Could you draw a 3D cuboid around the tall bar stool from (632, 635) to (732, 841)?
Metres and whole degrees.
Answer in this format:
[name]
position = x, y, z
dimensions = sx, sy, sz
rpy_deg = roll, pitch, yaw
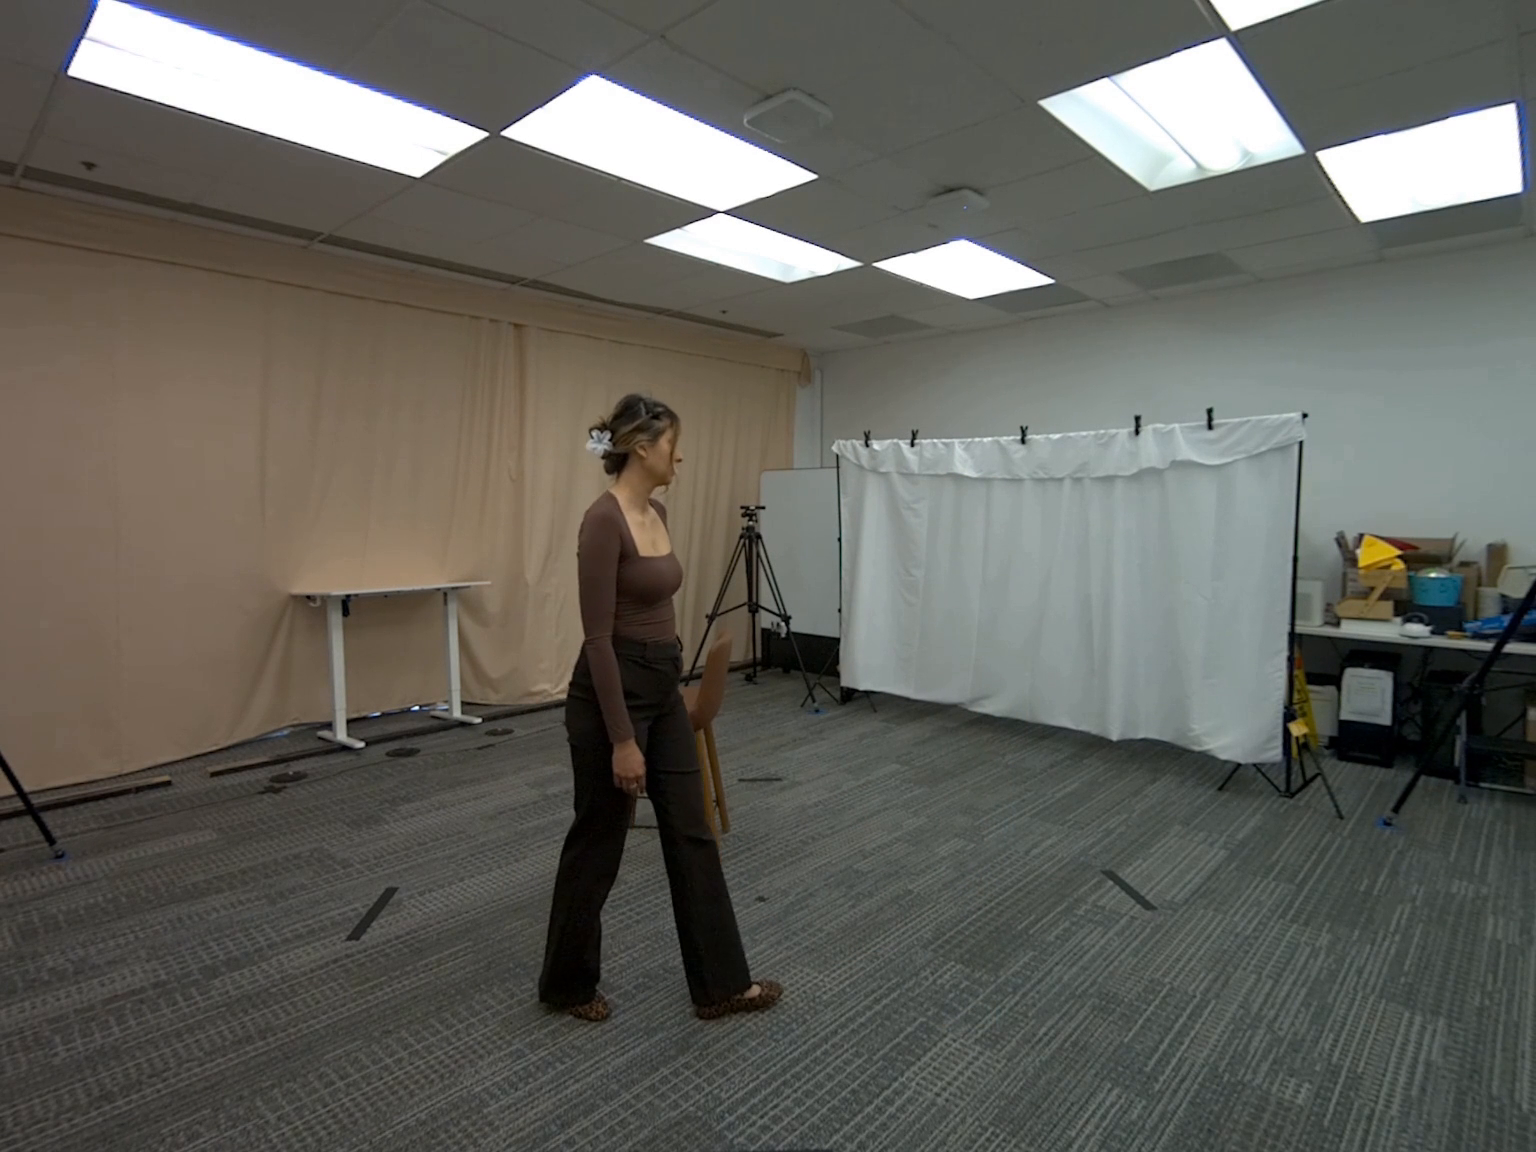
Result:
[tall bar stool]
position = -0.398, 0.677, 3.436
dimensions = 0.471, 0.888, 0.454
rpy_deg = 1, 4, 6
